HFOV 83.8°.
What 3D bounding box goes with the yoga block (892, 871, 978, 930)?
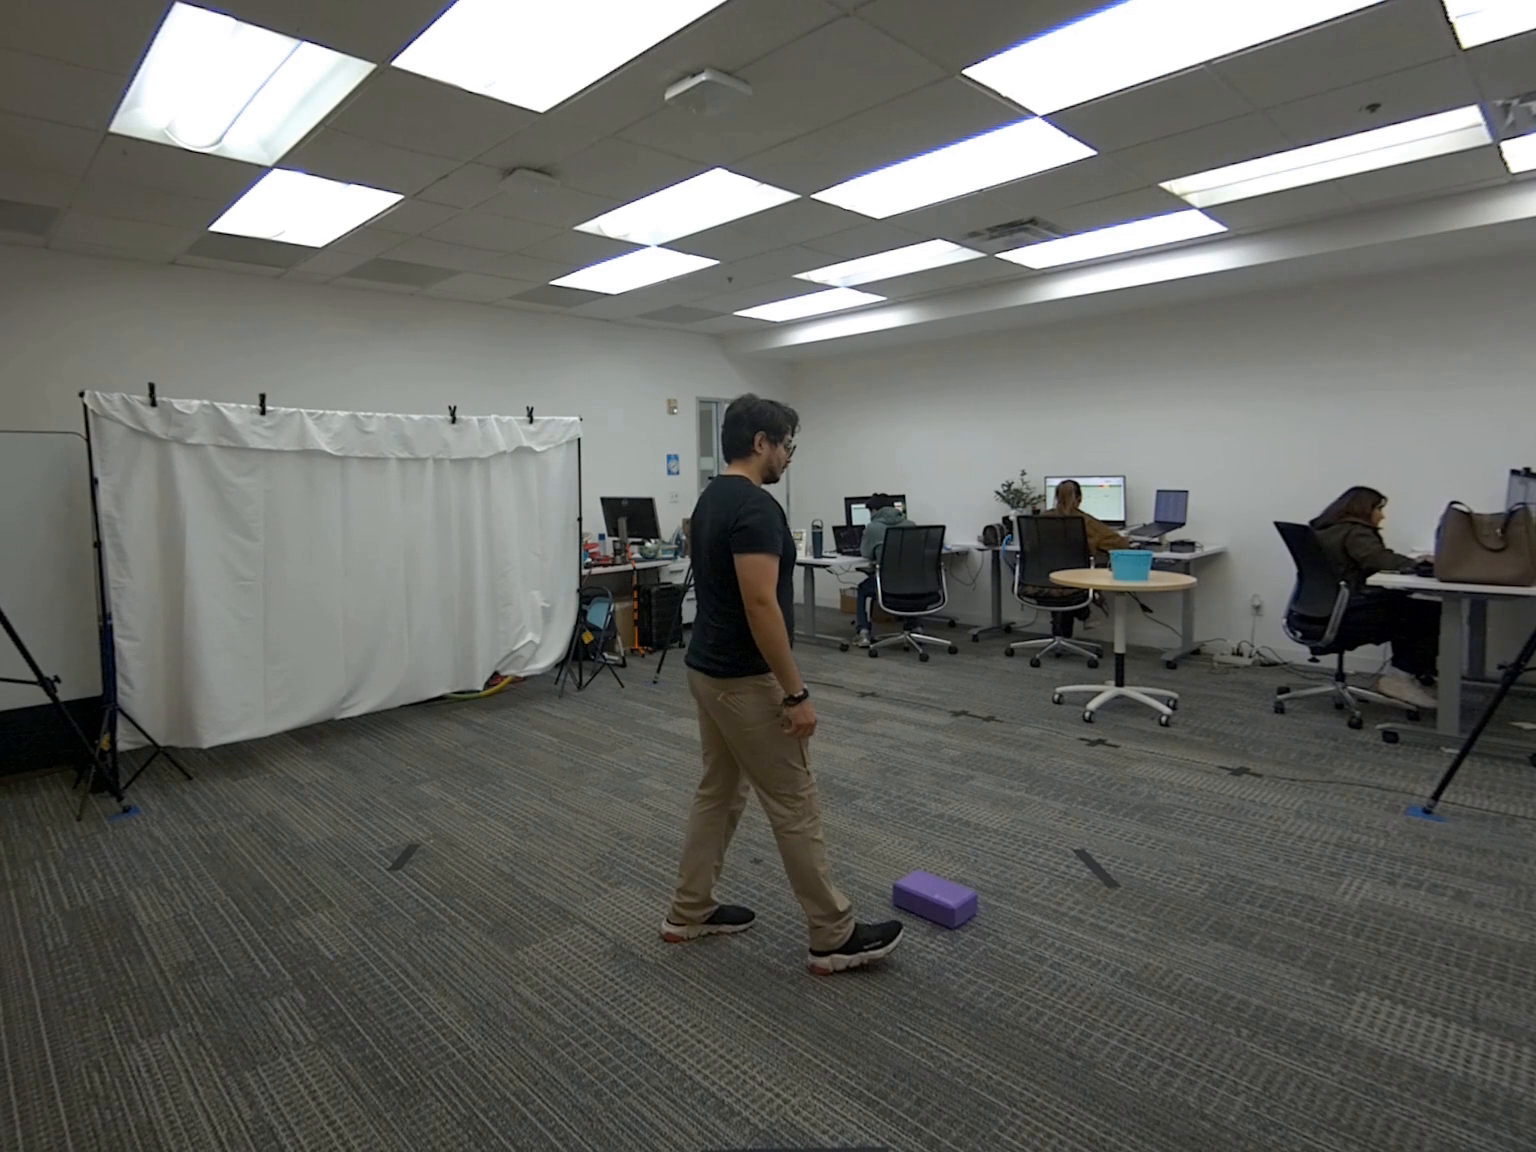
[{"bbox_3d":[0.538,1.030,2.727,0.145,0.076,0.236,-7,8,-44],"label":"yoga block"}]
